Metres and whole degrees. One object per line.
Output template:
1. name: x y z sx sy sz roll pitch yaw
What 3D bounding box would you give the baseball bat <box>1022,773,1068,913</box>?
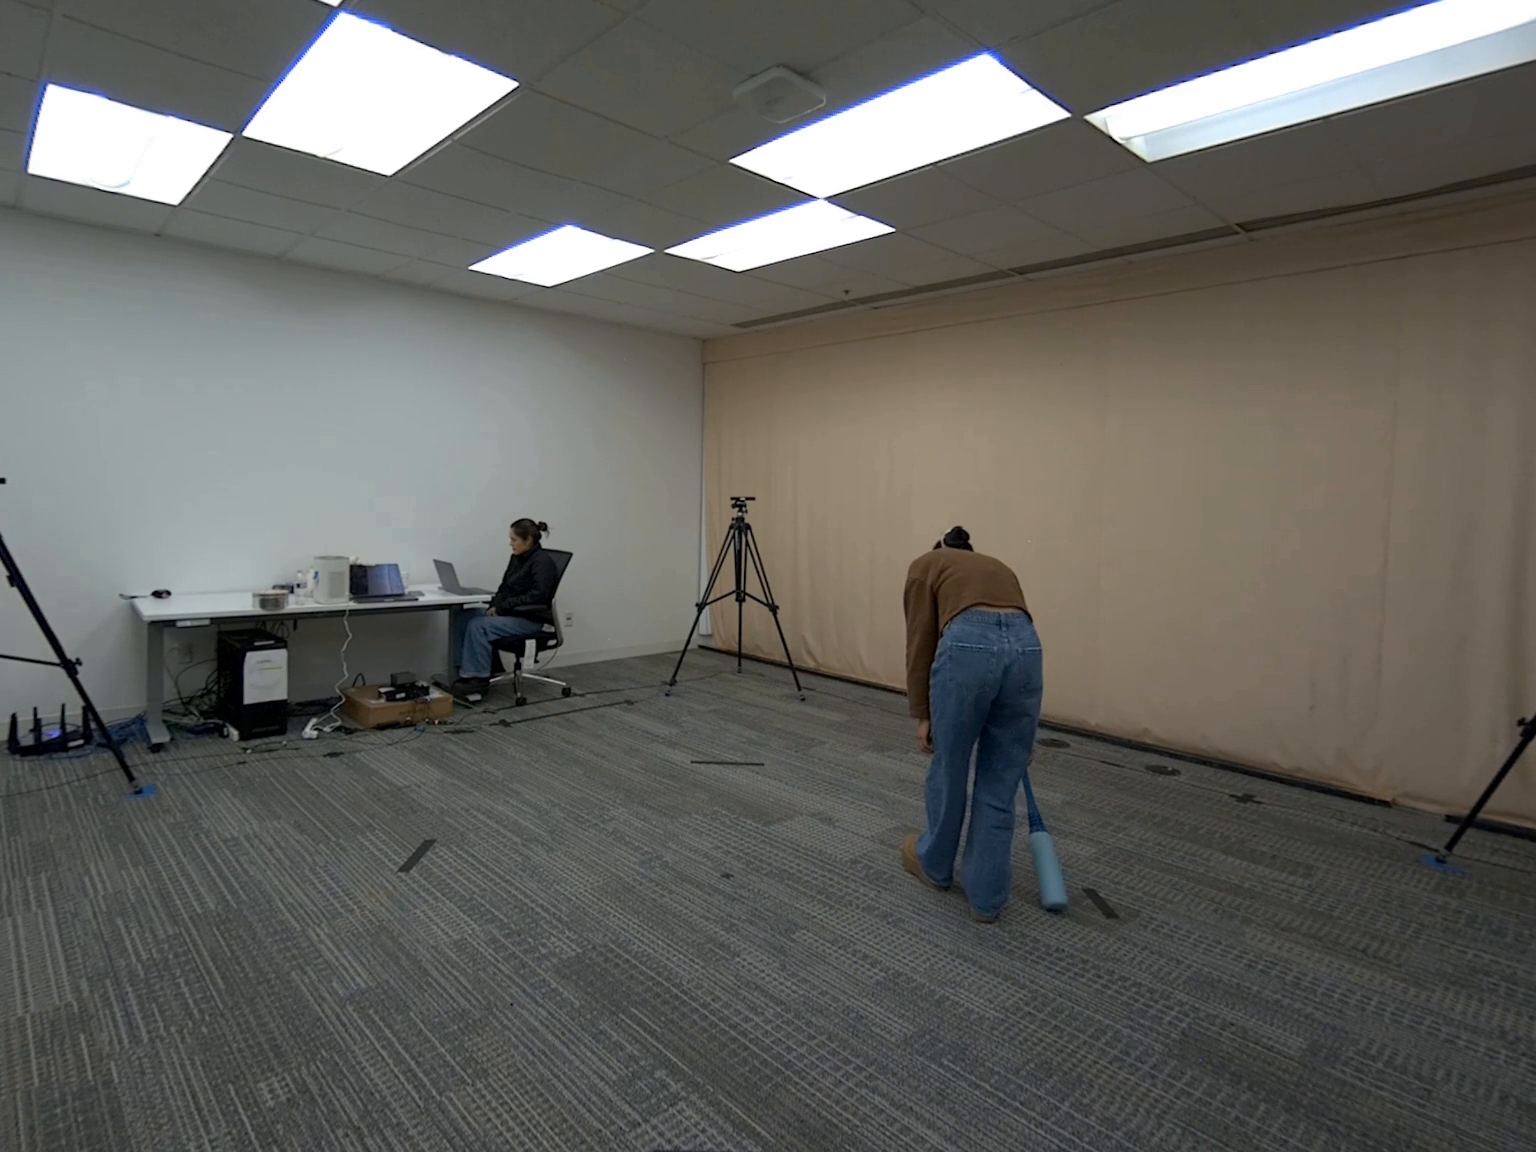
1. baseball bat: 0.965 0.917 3.051 0.089 0.555 0.087 -2 -36 -3
